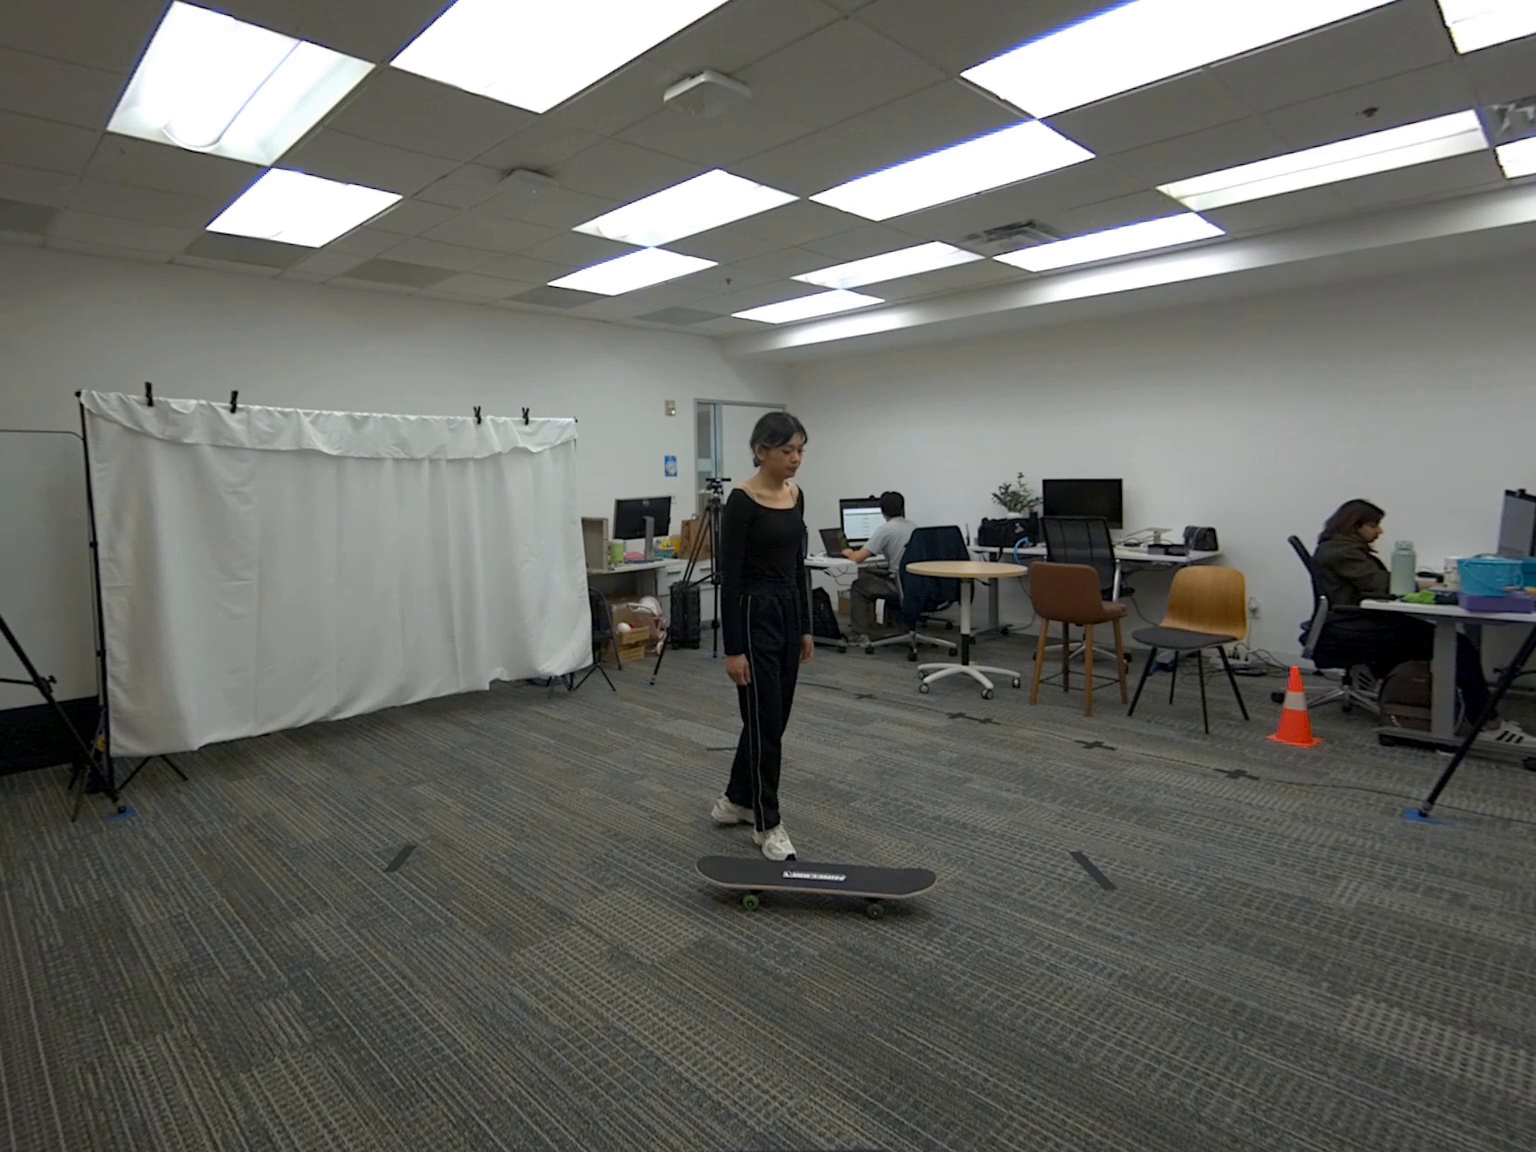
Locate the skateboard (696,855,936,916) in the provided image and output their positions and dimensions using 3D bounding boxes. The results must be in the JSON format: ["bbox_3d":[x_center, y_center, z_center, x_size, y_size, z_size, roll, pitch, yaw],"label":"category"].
[{"bbox_3d":[0.152,1.012,2.809,0.794,0.110,0.192,0,6,10],"label":"skateboard"}]
